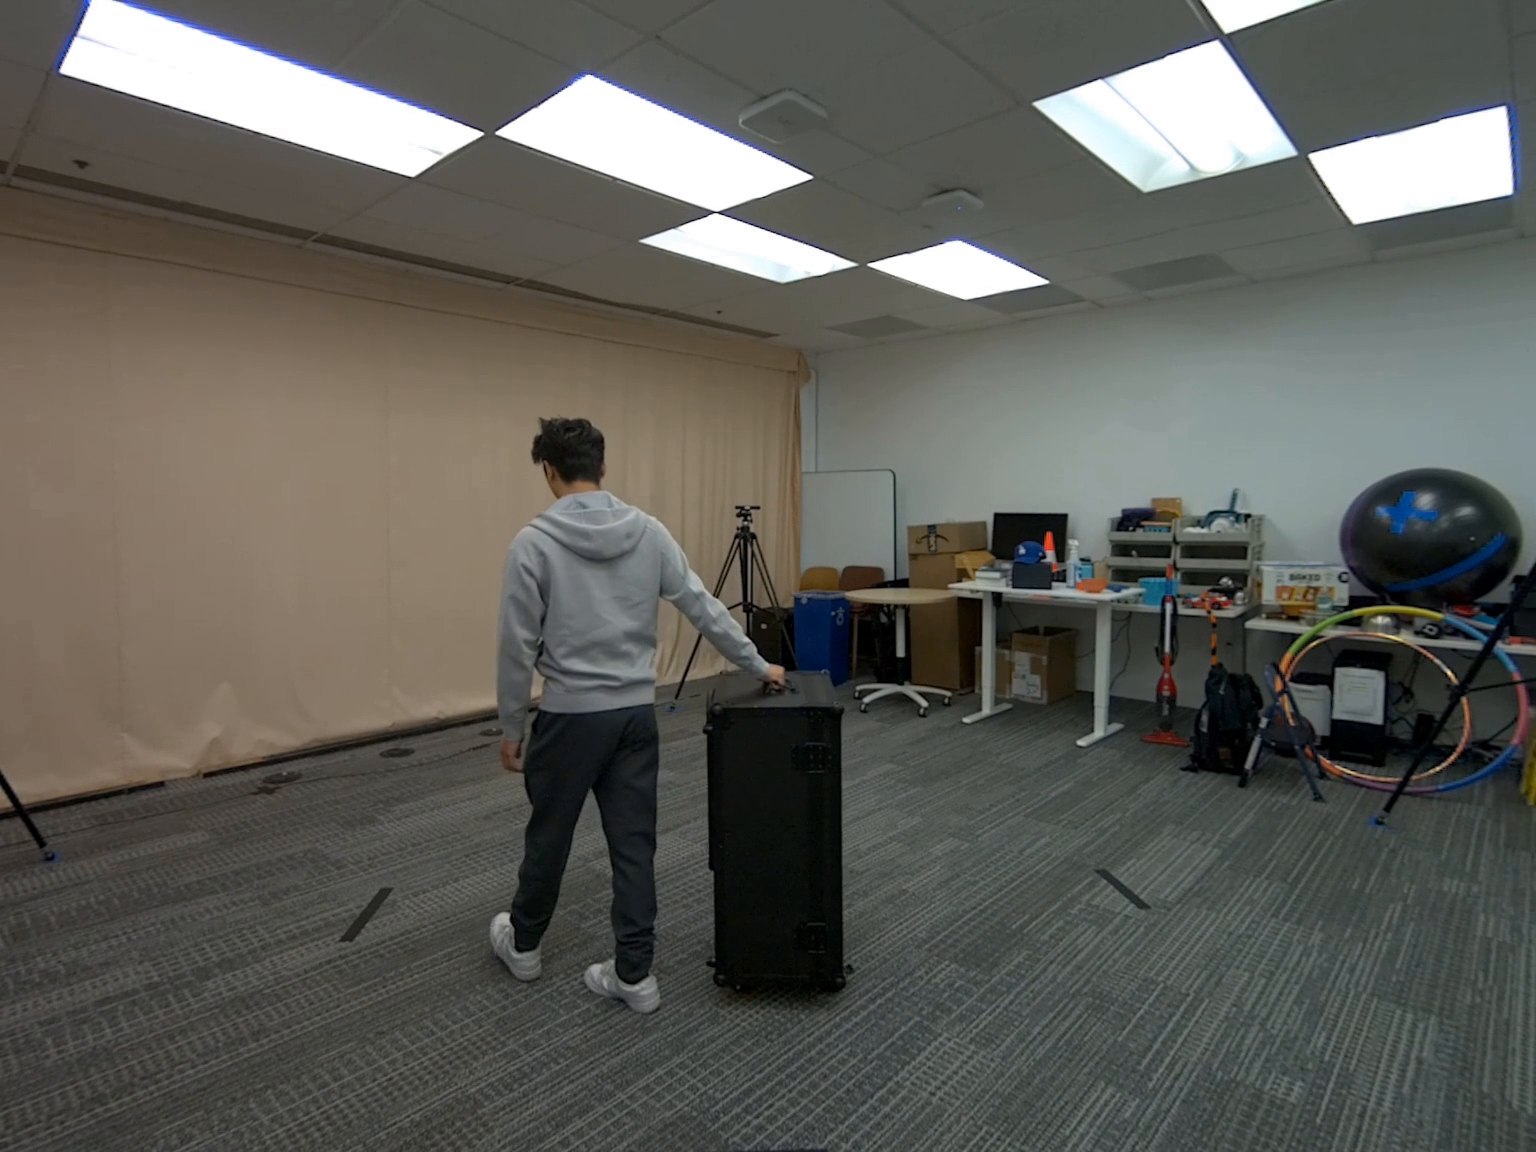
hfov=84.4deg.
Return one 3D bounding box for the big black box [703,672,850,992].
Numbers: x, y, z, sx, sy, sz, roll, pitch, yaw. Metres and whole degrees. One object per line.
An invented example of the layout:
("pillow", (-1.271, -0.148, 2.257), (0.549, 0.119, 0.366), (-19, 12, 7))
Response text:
("big black box", (0.020, 0.763, 2.527), (0.398, 0.859, 0.520), (-1, 3, 2))
